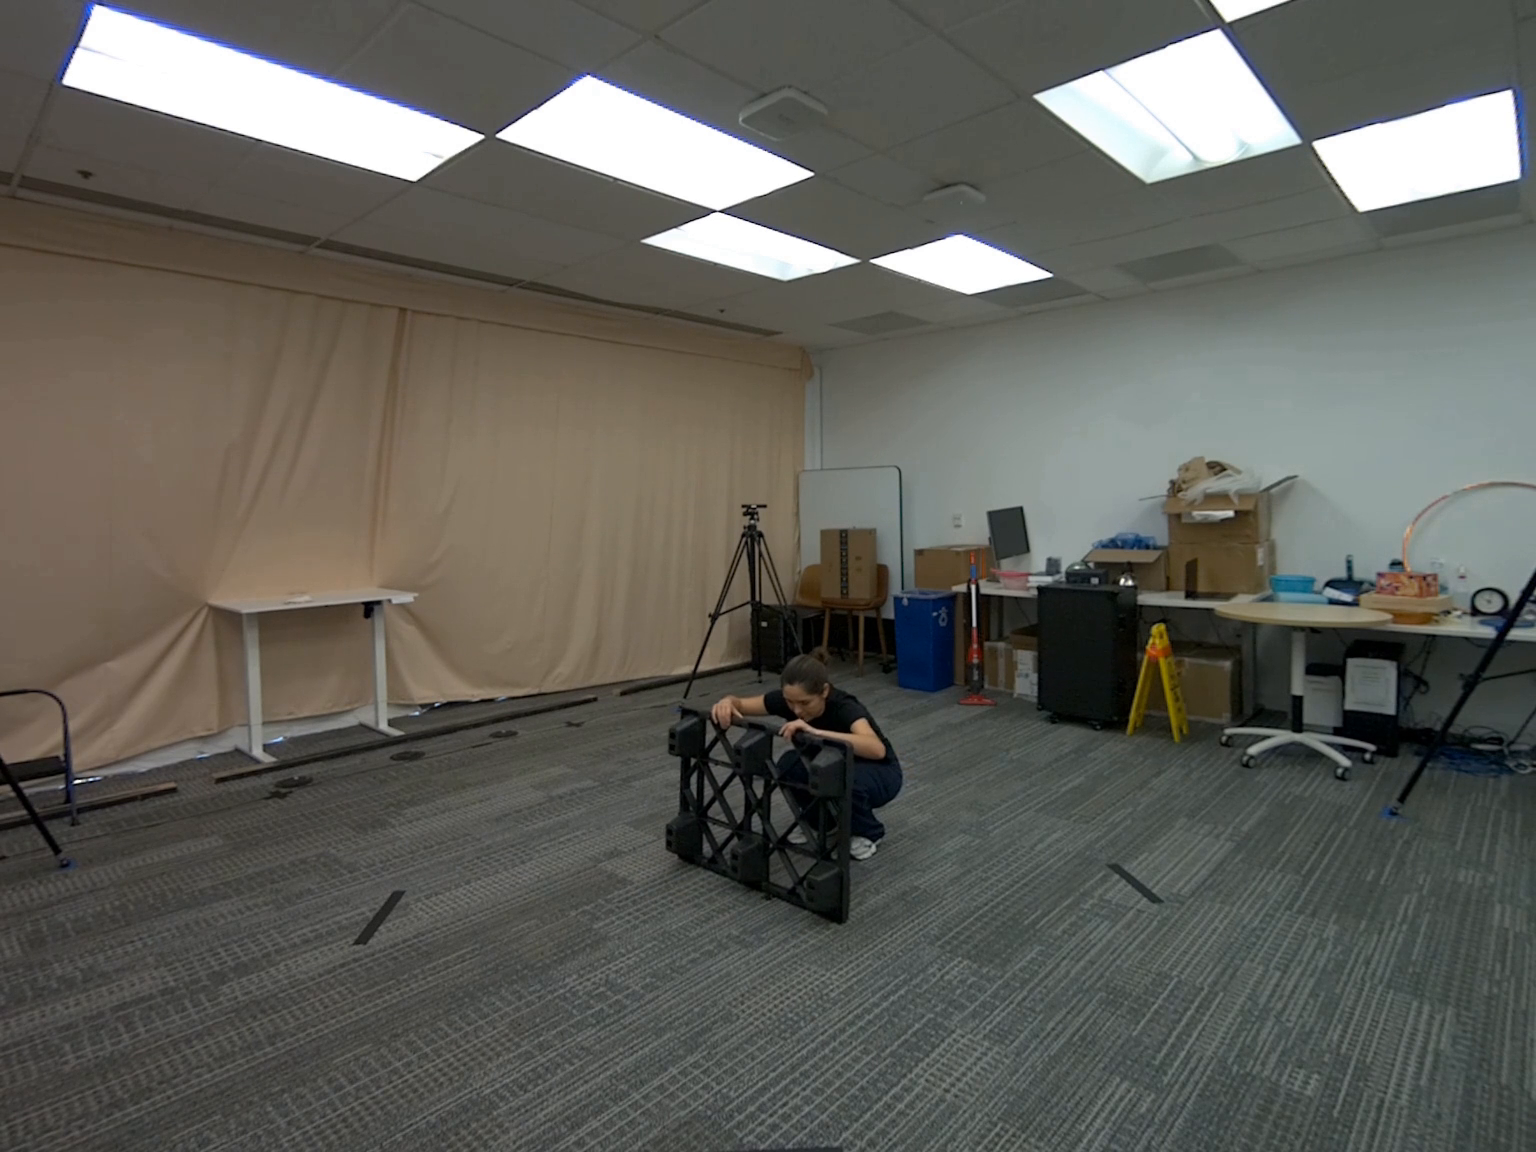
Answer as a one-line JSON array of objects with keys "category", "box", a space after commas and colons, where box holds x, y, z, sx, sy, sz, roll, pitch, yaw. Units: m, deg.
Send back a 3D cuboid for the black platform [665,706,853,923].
[{"category": "black platform", "box": [-0.048, 0.826, 3.032, 0.832, 0.605, 0.139, 3, 1, 42]}]
